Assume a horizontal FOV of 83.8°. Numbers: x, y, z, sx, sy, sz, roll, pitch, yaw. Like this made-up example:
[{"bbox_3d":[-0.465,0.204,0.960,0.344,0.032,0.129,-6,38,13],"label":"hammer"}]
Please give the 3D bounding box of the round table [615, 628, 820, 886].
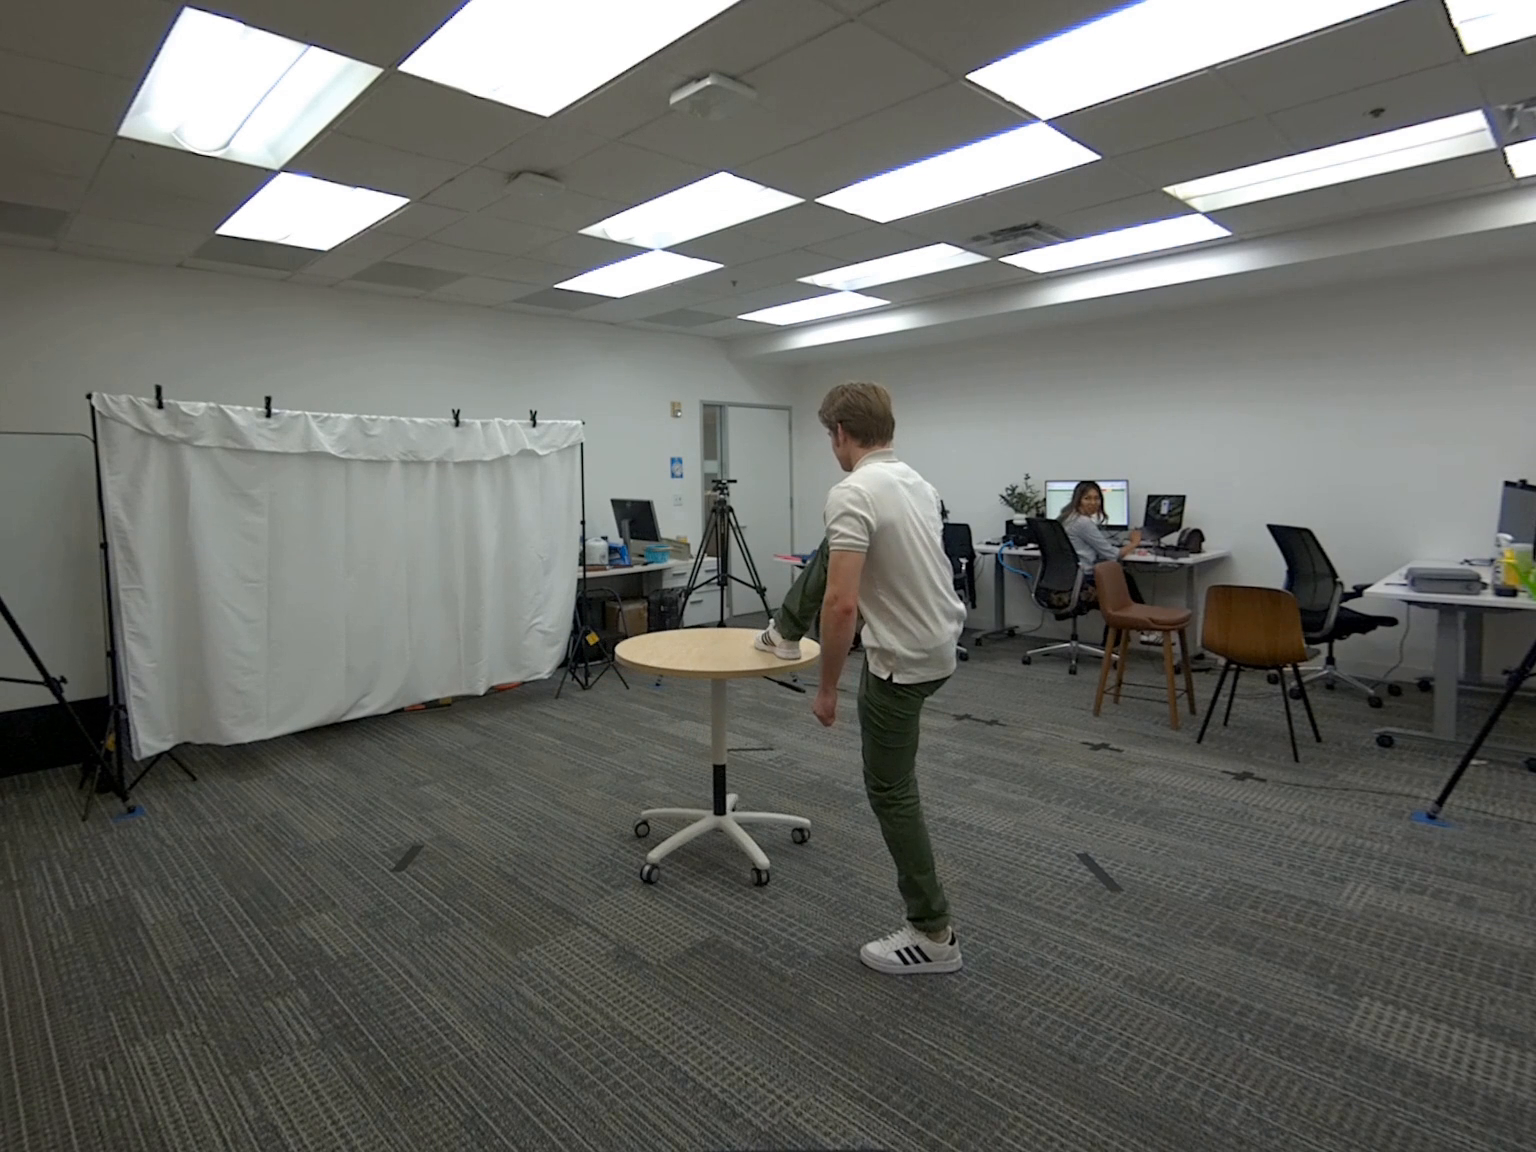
[{"bbox_3d":[-0.192,0.650,3.215,0.763,0.791,0.768,0,5,-2],"label":"round table"}]
